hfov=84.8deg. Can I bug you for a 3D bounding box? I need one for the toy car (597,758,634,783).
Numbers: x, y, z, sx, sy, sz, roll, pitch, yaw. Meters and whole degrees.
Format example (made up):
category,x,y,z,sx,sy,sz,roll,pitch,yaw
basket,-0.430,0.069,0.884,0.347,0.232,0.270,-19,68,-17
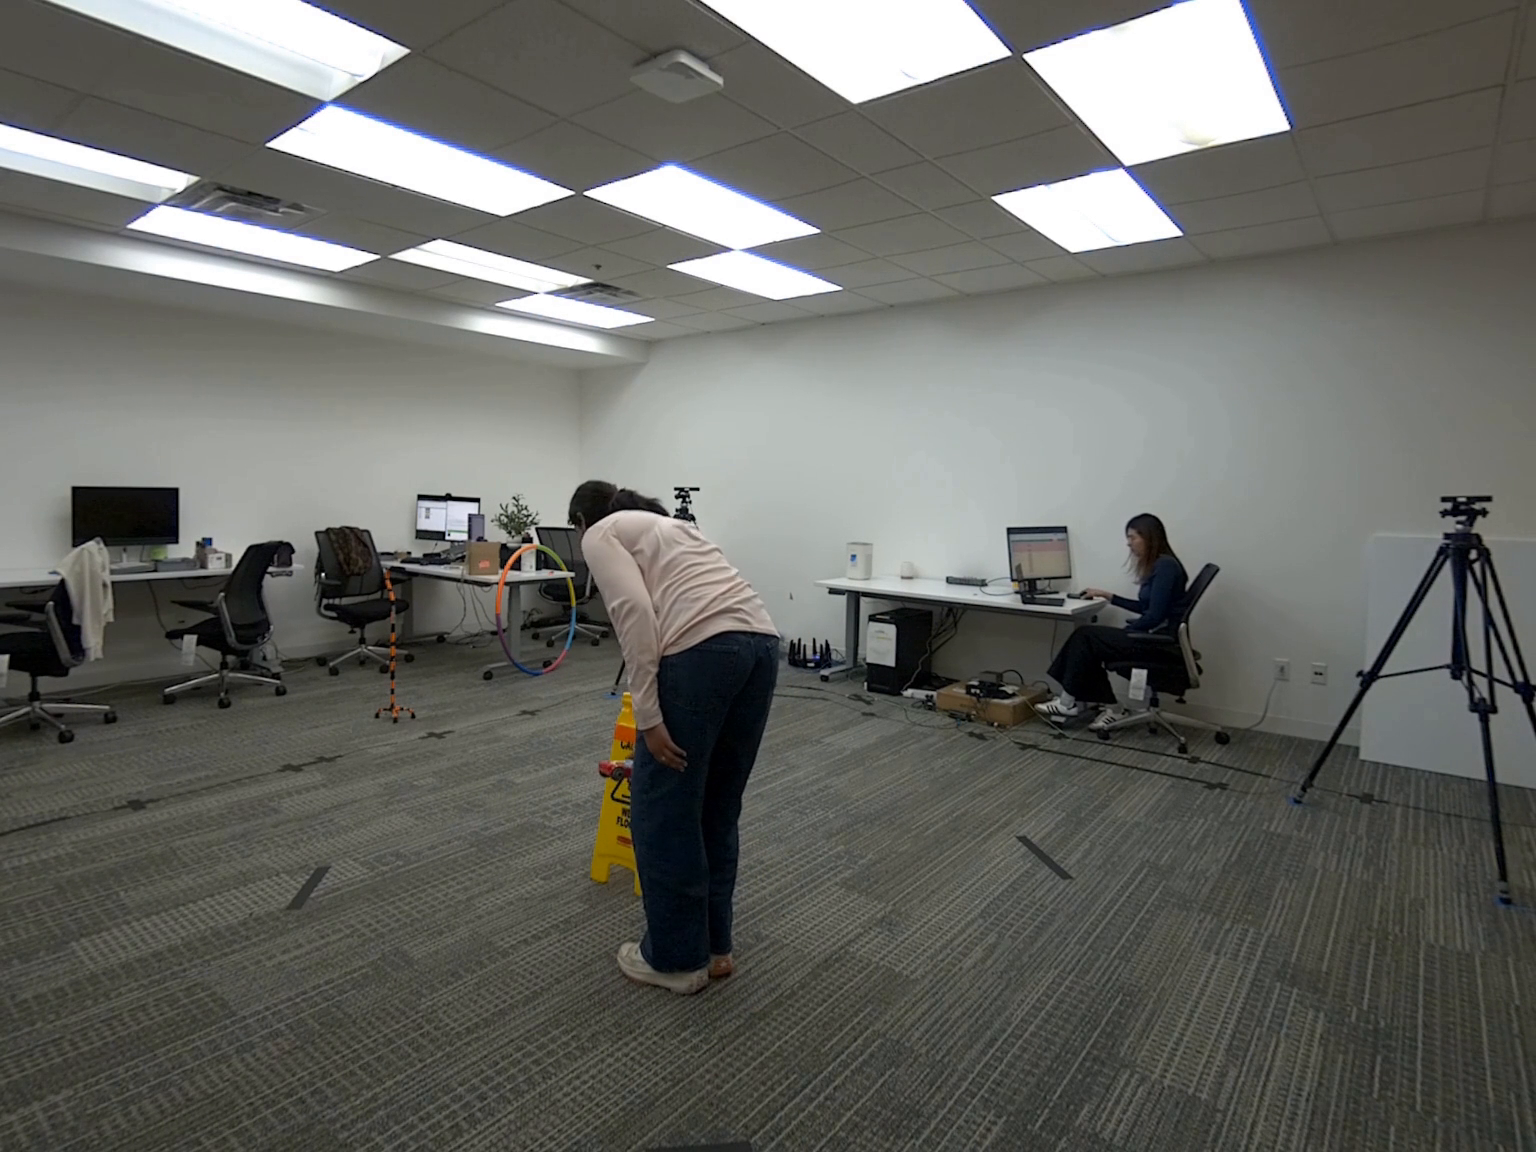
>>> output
category,x,y,z,sx,sy,sz,roll,pitch,yaw
toy car,-0.420,0.628,2.699,0.247,0.084,0.133,6,-9,-31
